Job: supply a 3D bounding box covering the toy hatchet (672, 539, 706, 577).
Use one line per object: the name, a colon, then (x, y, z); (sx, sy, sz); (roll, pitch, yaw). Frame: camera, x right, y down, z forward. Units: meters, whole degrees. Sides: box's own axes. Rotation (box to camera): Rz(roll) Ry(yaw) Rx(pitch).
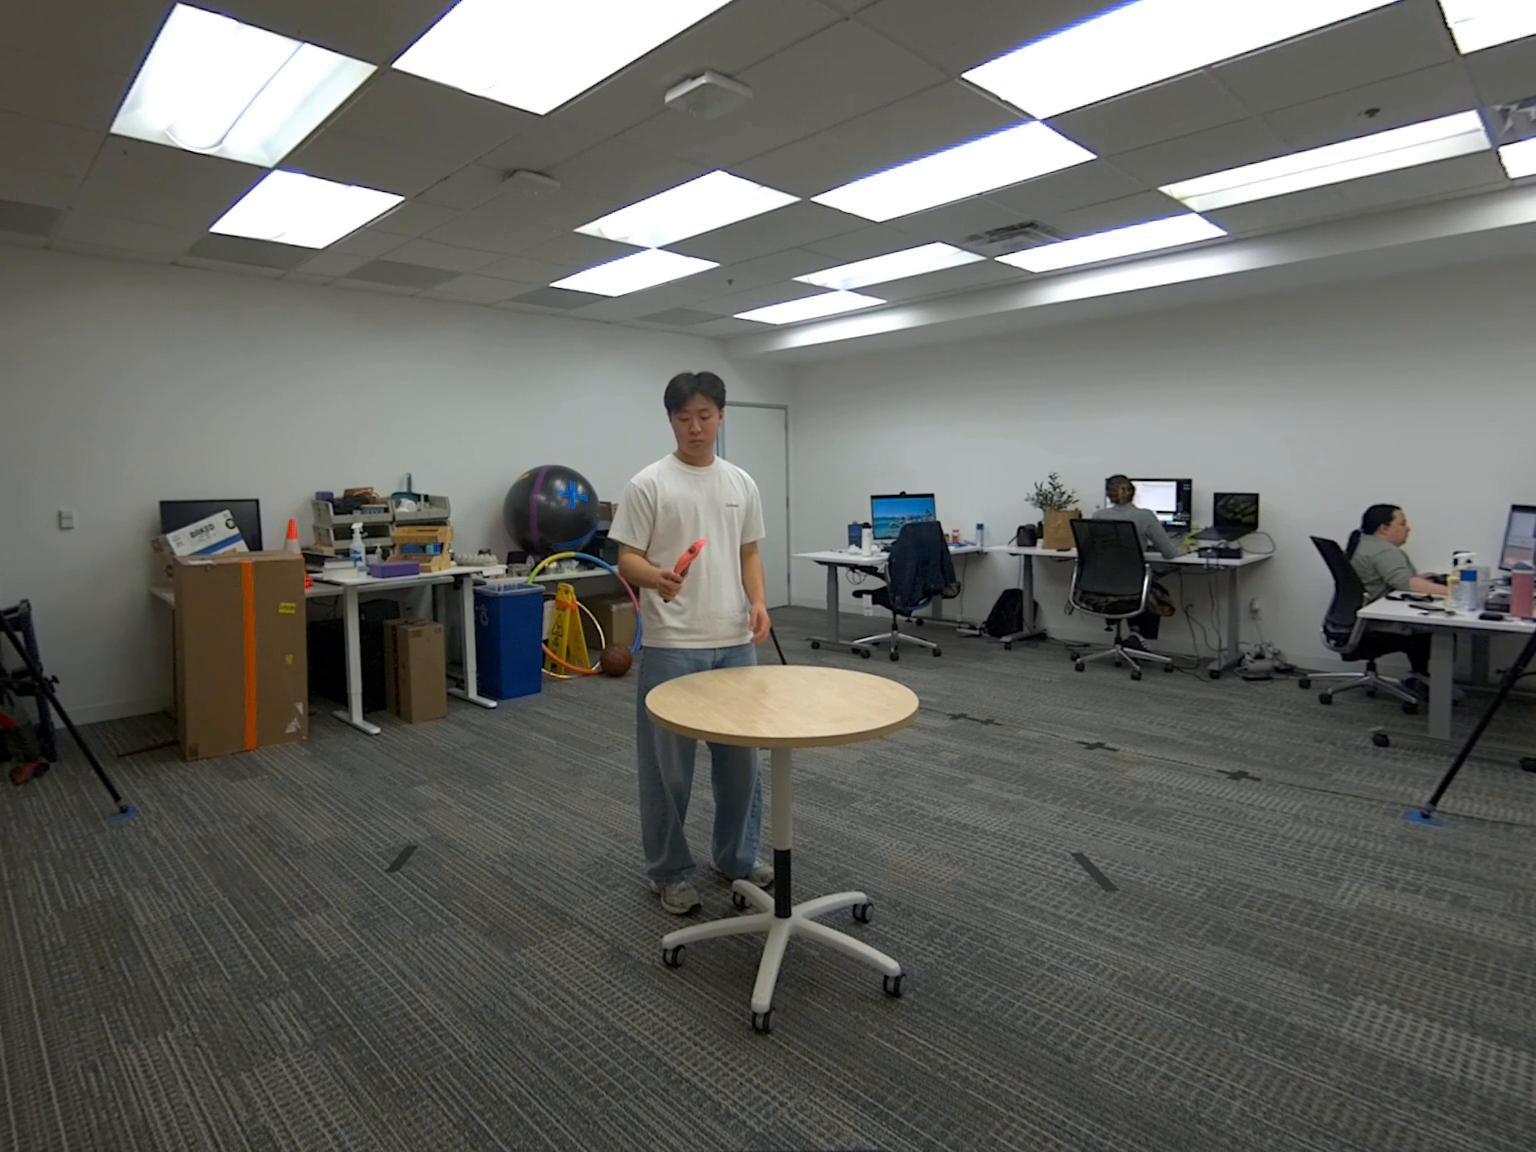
toy hatchet: (-0.254, 0.006, 2.444); (0.030, 0.267, 0.130); (37, 41, 7)
